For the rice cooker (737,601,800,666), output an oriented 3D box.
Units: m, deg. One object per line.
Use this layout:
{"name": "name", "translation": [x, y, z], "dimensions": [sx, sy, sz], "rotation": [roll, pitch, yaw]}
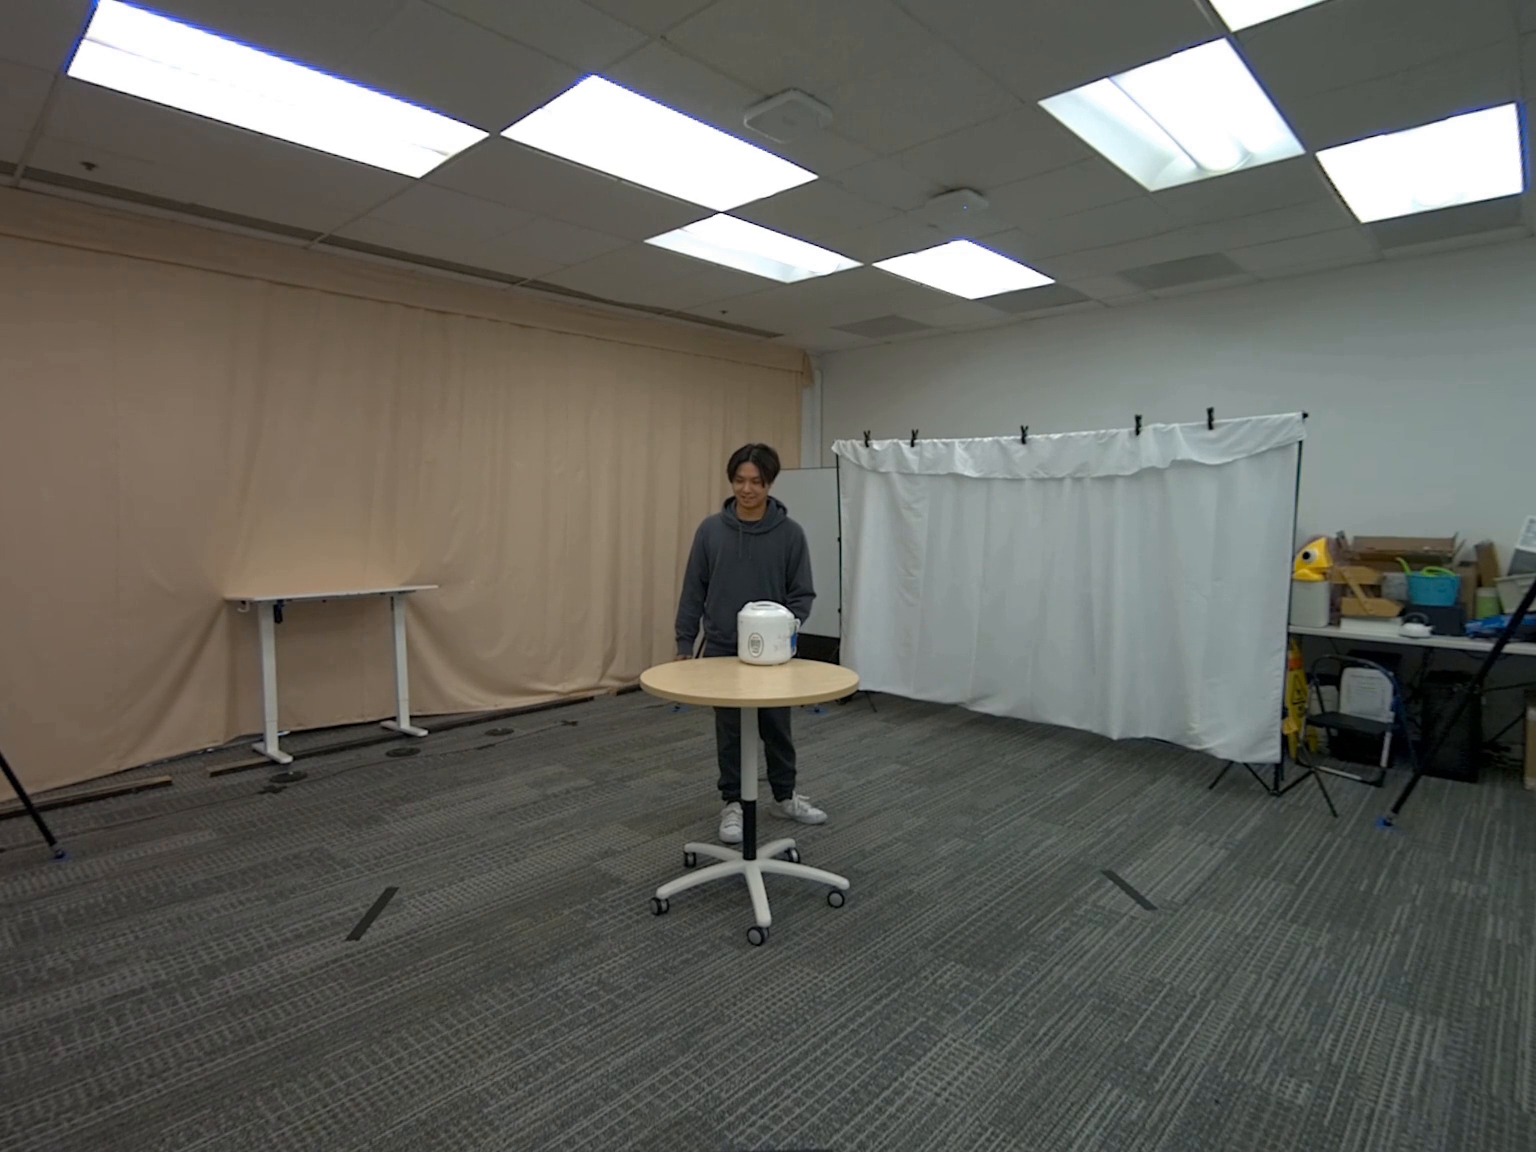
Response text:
{"name": "rice cooker", "translation": [-0.009, 0.212, 3.221], "dimensions": [0.225, 0.232, 0.213], "rotation": [1, 3, 21]}
